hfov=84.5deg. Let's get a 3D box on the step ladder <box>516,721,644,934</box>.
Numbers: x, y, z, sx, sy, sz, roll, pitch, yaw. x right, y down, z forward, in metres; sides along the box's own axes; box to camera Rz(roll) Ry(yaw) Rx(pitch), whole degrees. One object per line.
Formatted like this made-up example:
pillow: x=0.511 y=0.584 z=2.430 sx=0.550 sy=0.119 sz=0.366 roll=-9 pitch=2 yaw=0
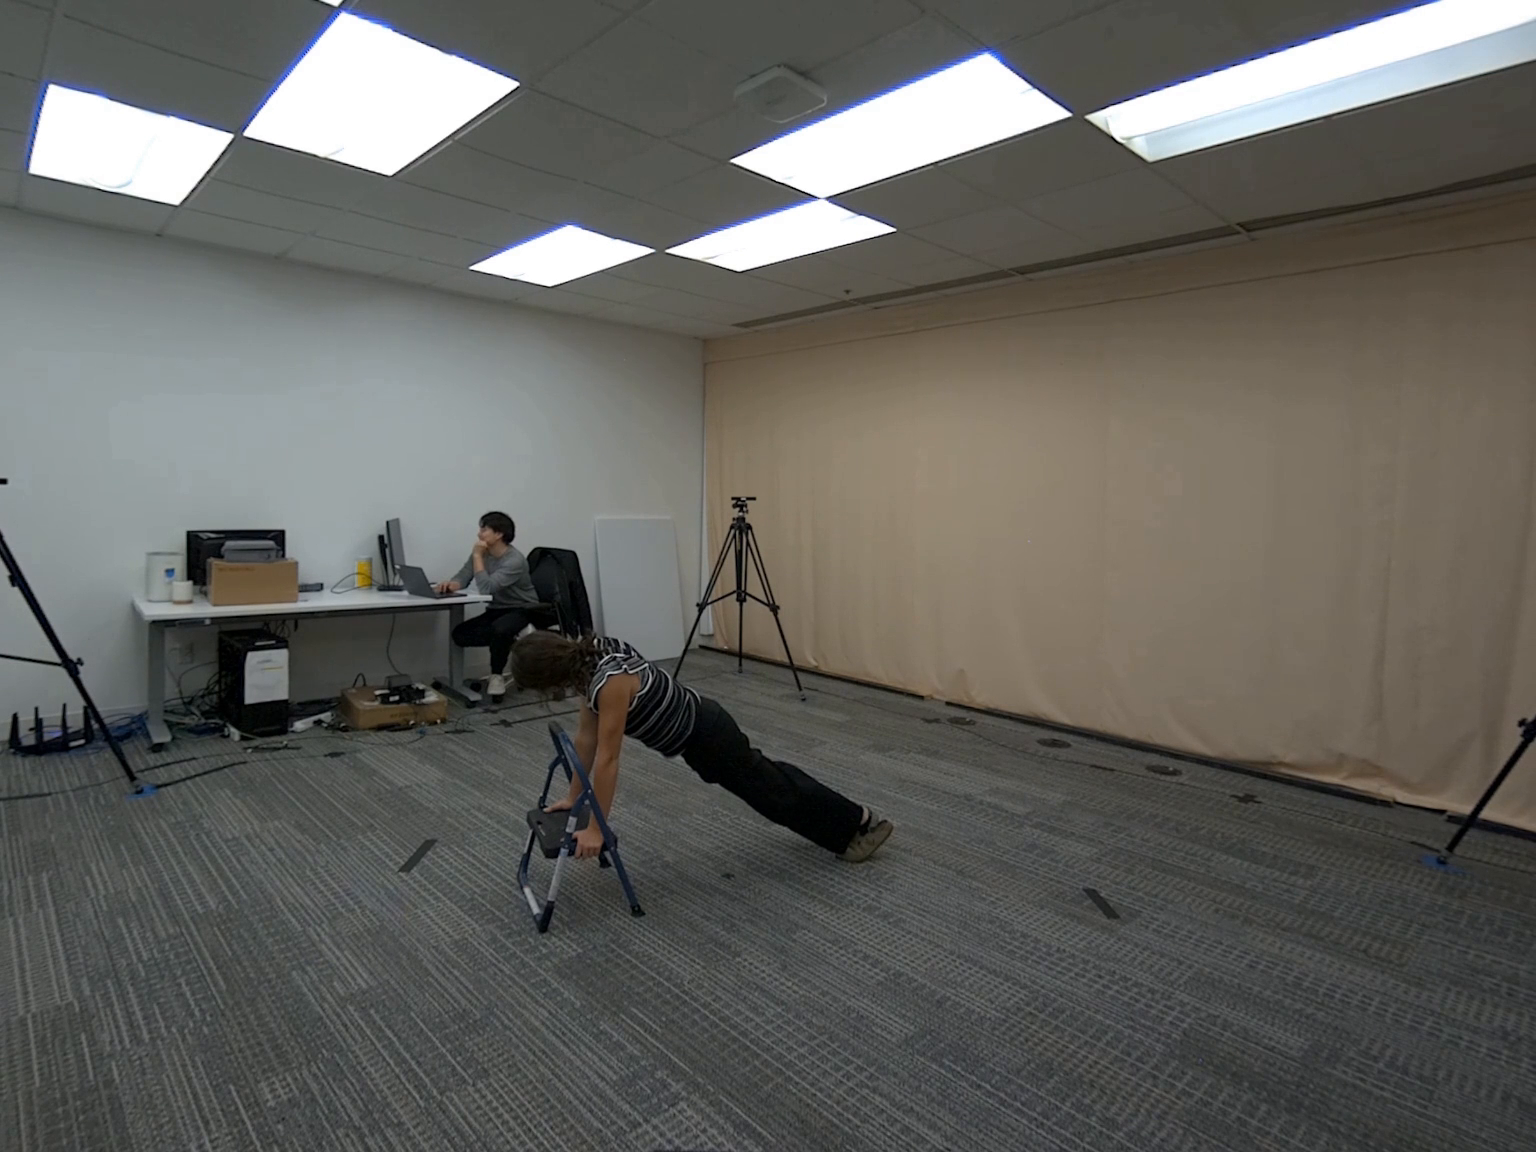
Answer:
step ladder: x=-0.662 y=0.815 z=2.900 sx=0.343 sy=0.604 sz=0.440 roll=-1 pitch=4 yaw=-27
